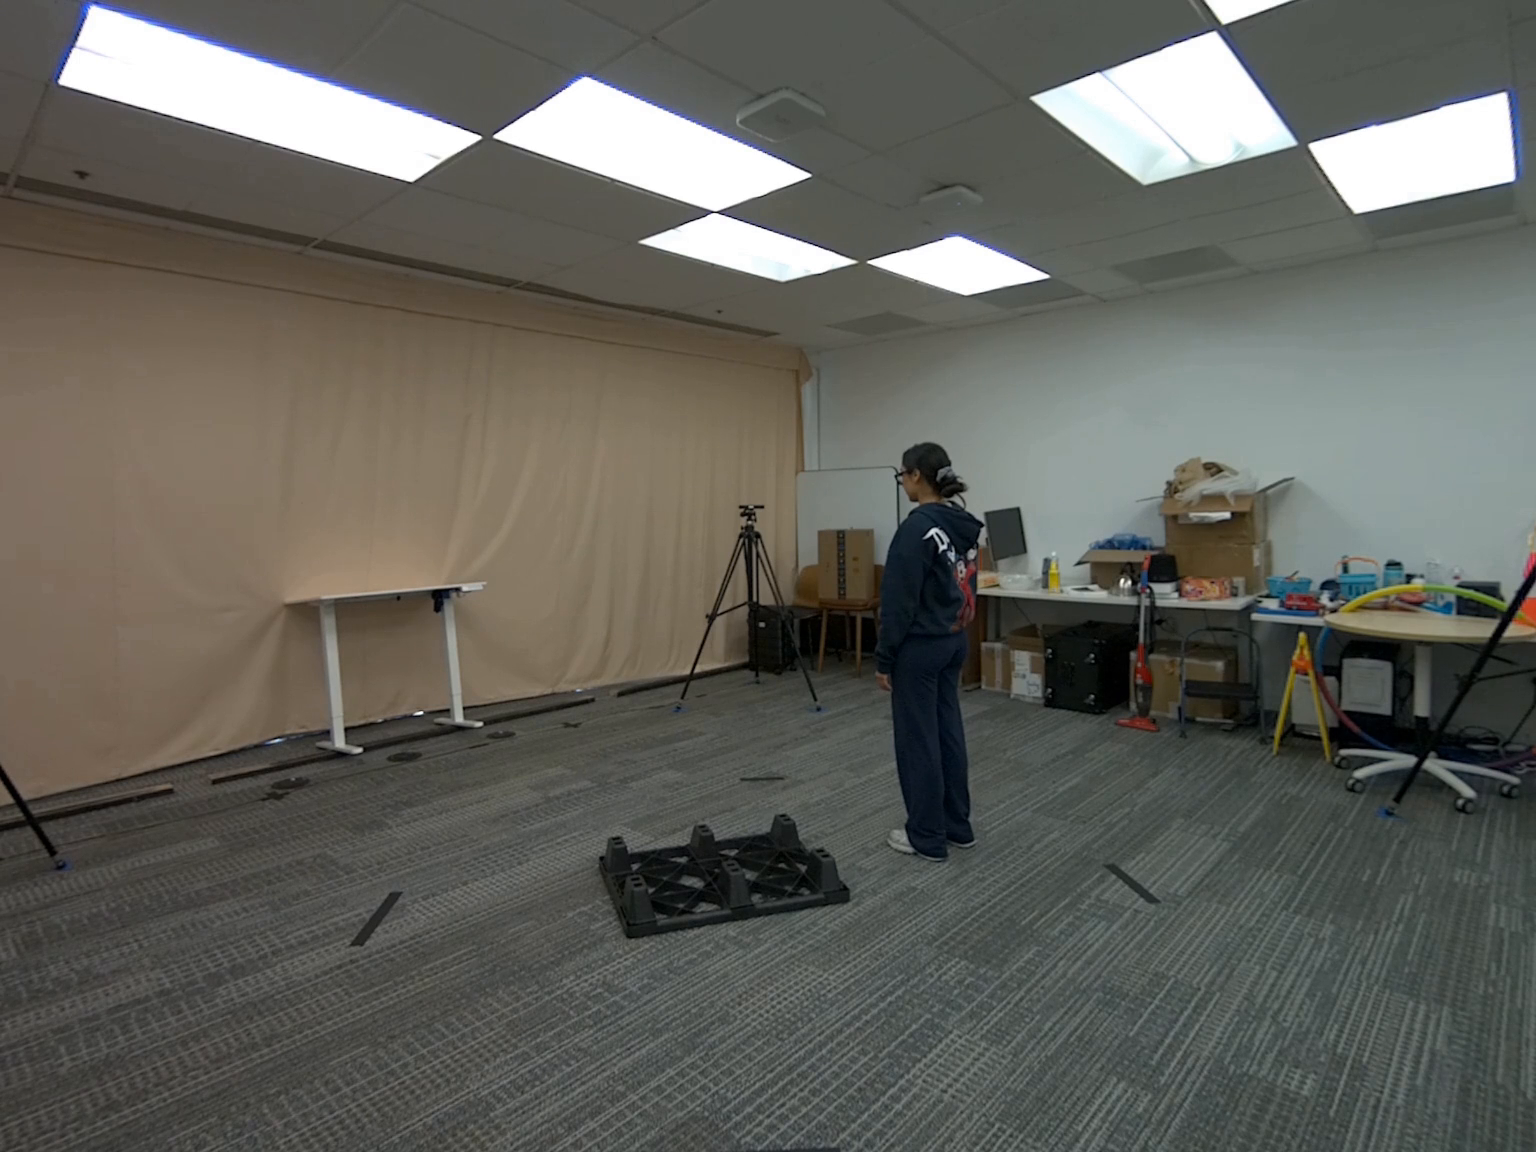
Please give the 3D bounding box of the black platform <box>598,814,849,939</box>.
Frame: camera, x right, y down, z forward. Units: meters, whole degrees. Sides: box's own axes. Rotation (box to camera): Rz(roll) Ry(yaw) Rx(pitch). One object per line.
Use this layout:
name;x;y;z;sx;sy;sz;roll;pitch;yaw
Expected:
black platform;-0.185;1.065;3.105;0.791;0.143;0.618;-3;5;-19
